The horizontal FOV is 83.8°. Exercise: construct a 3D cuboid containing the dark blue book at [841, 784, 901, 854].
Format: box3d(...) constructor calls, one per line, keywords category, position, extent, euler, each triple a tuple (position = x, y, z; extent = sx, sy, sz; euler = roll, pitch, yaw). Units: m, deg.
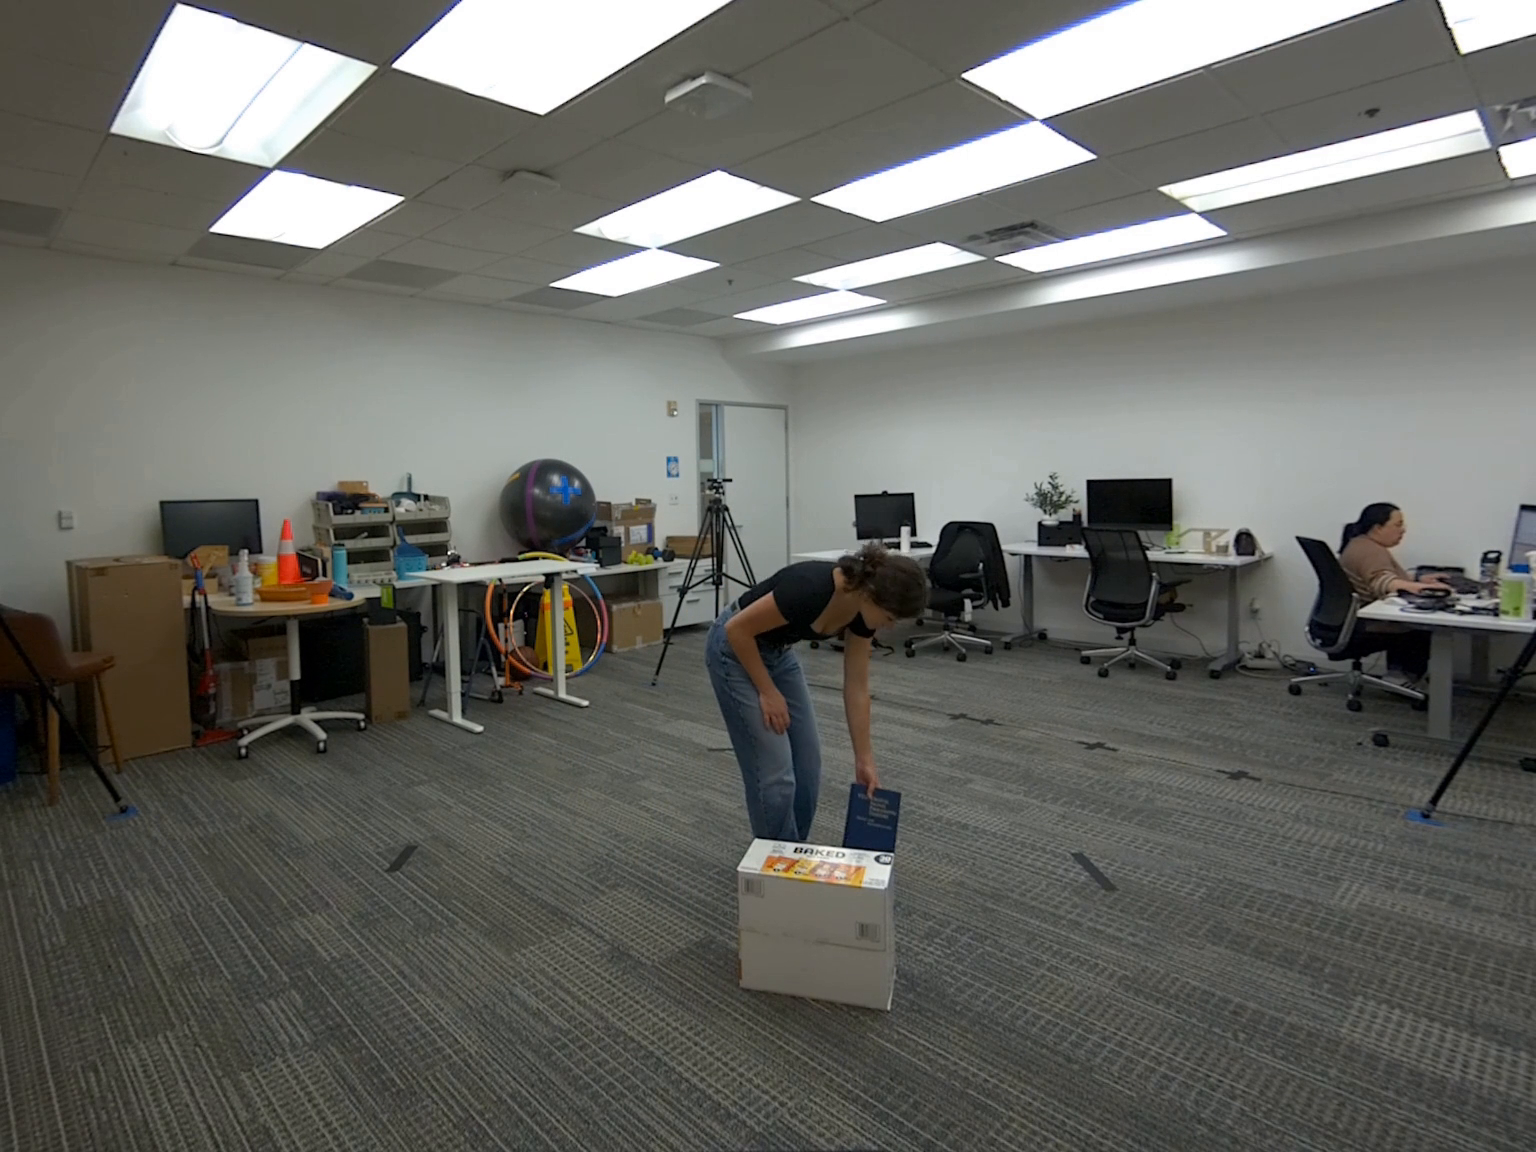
box3d(category="dark blue book", position=(0.339, 0.807, 2.770), extent=(0.163, 0.248, 0.044), euler=(10, -17, 0))
